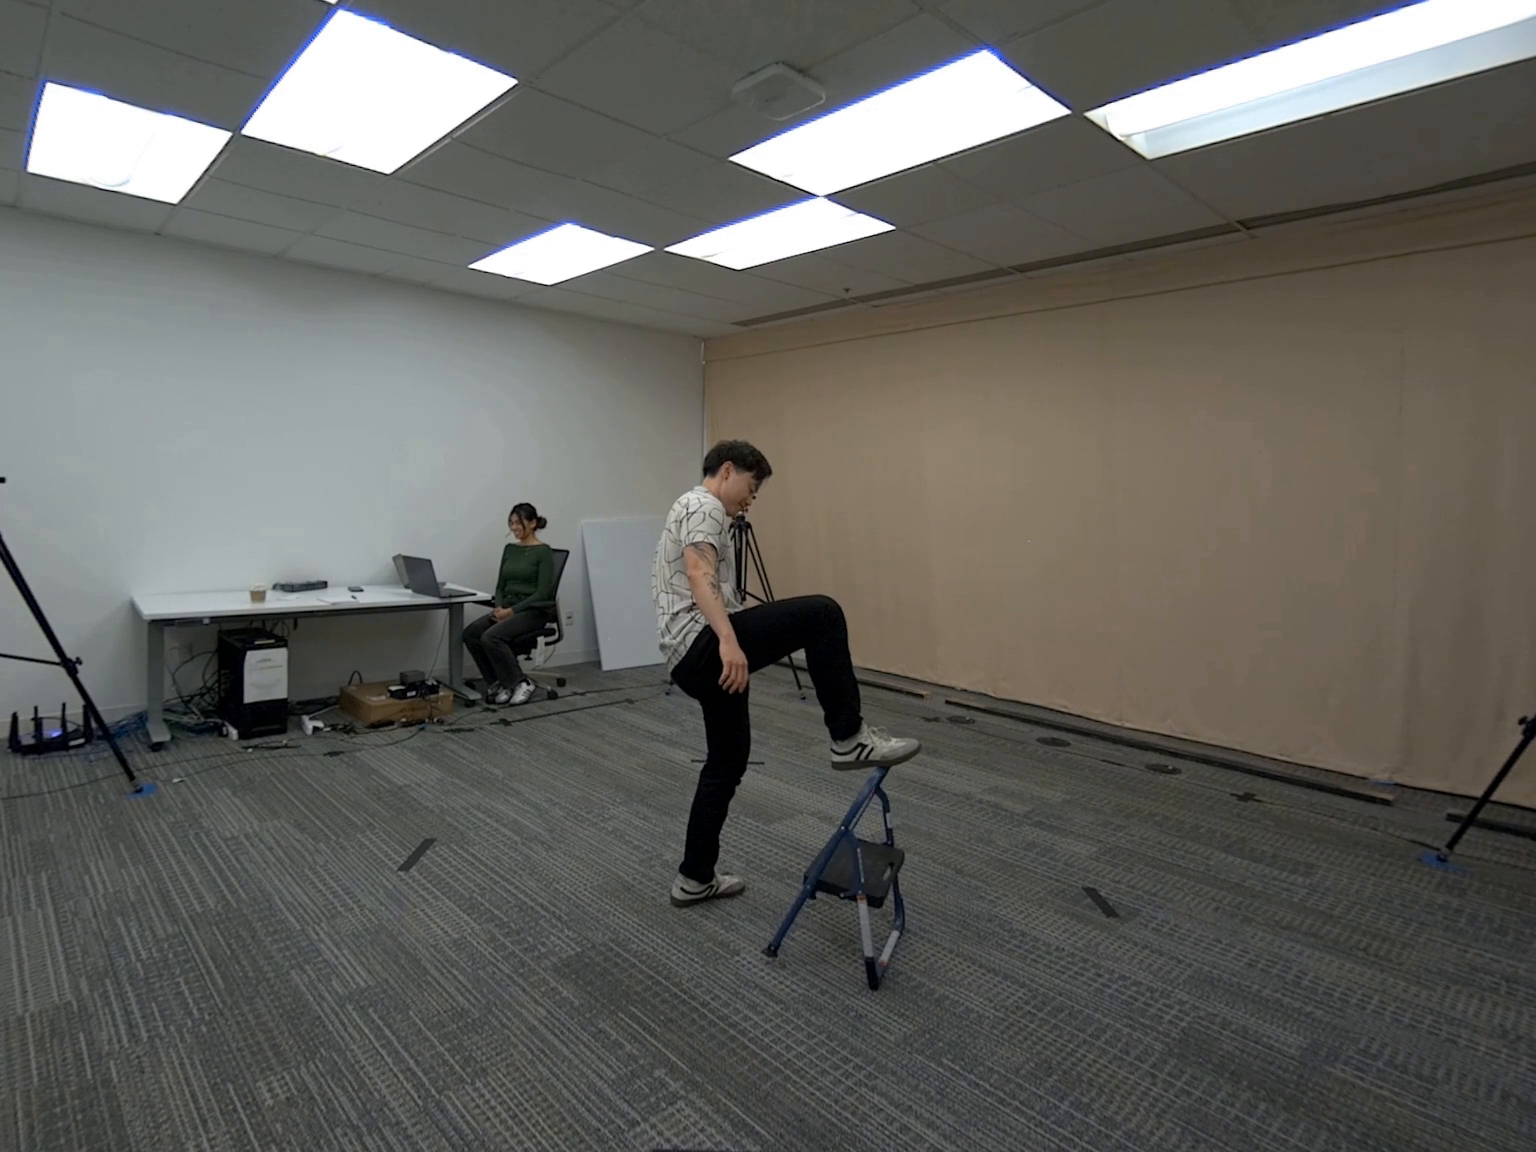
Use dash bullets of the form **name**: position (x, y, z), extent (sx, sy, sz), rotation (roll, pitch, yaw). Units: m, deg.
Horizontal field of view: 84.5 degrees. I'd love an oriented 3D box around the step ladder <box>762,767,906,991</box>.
- **step ladder**: position (0.250, 0.841, 2.604), extent (0.355, 0.603, 0.425), rotation (9, 7, 19)
